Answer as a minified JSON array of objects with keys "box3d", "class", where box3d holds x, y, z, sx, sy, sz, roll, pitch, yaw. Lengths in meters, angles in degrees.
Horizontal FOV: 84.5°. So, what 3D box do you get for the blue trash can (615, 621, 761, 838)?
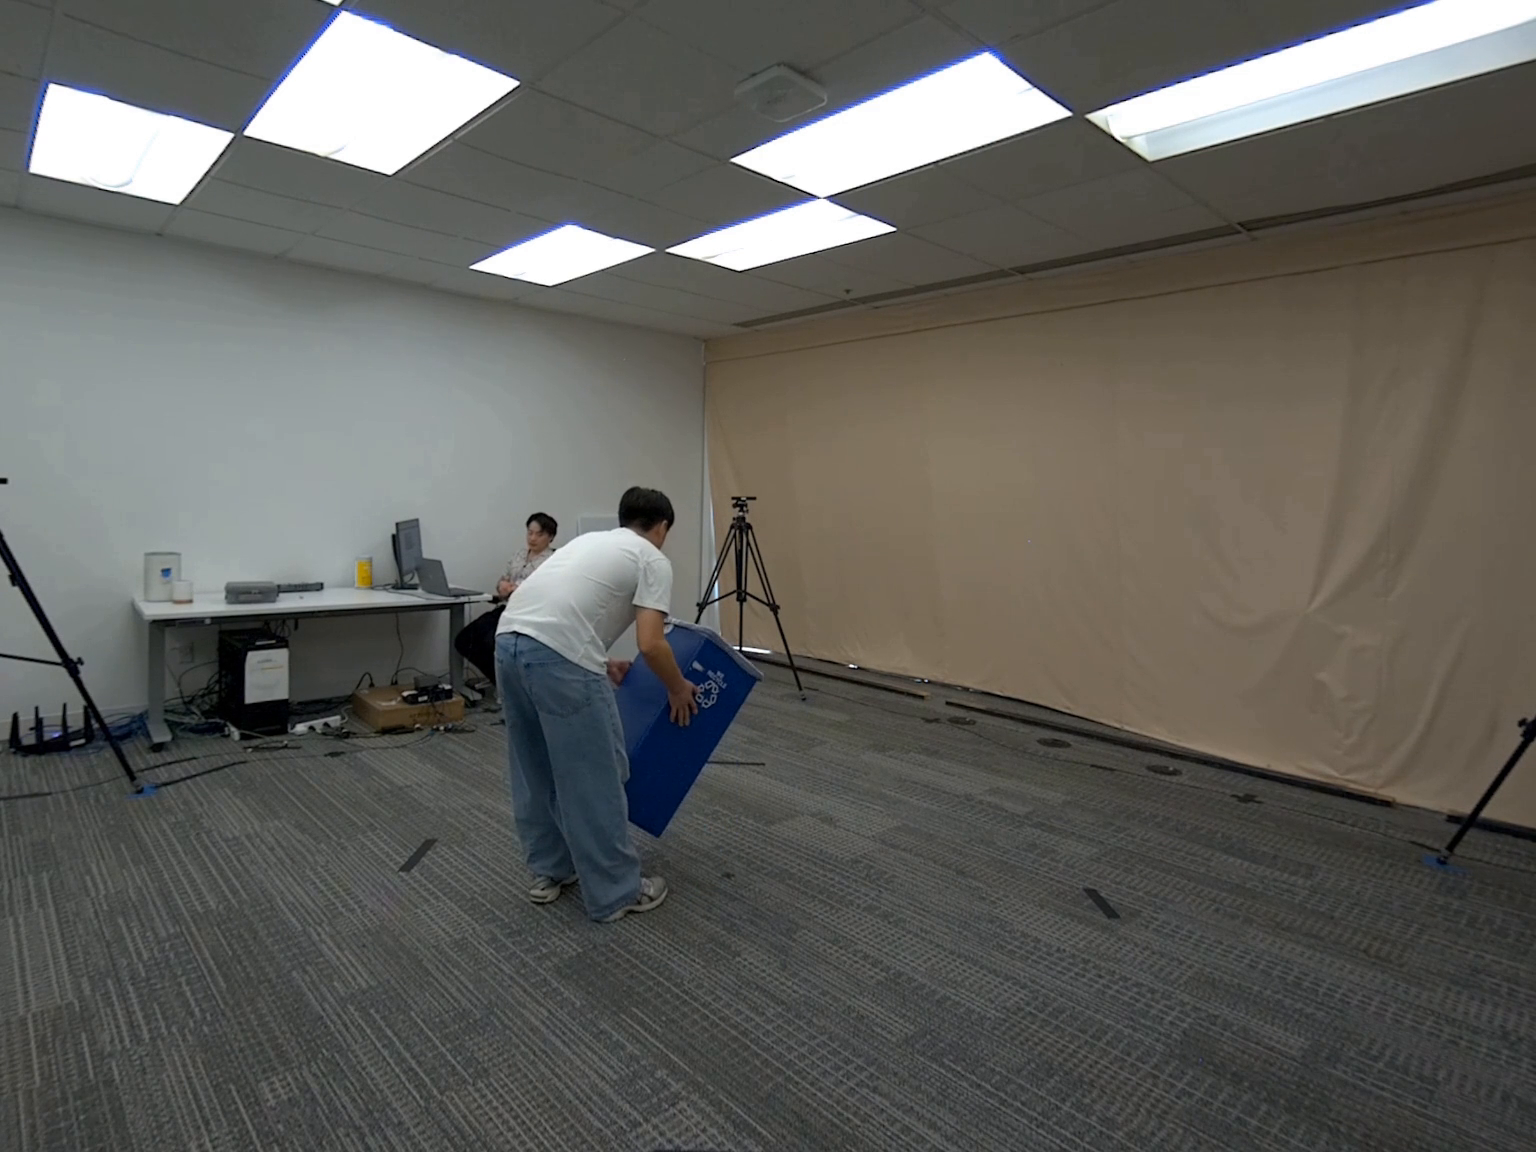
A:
[{"box3d":[-0.394,0.578,3.194,0.388,0.716,0.363,9,-28,50],"class":"blue trash can"}]
